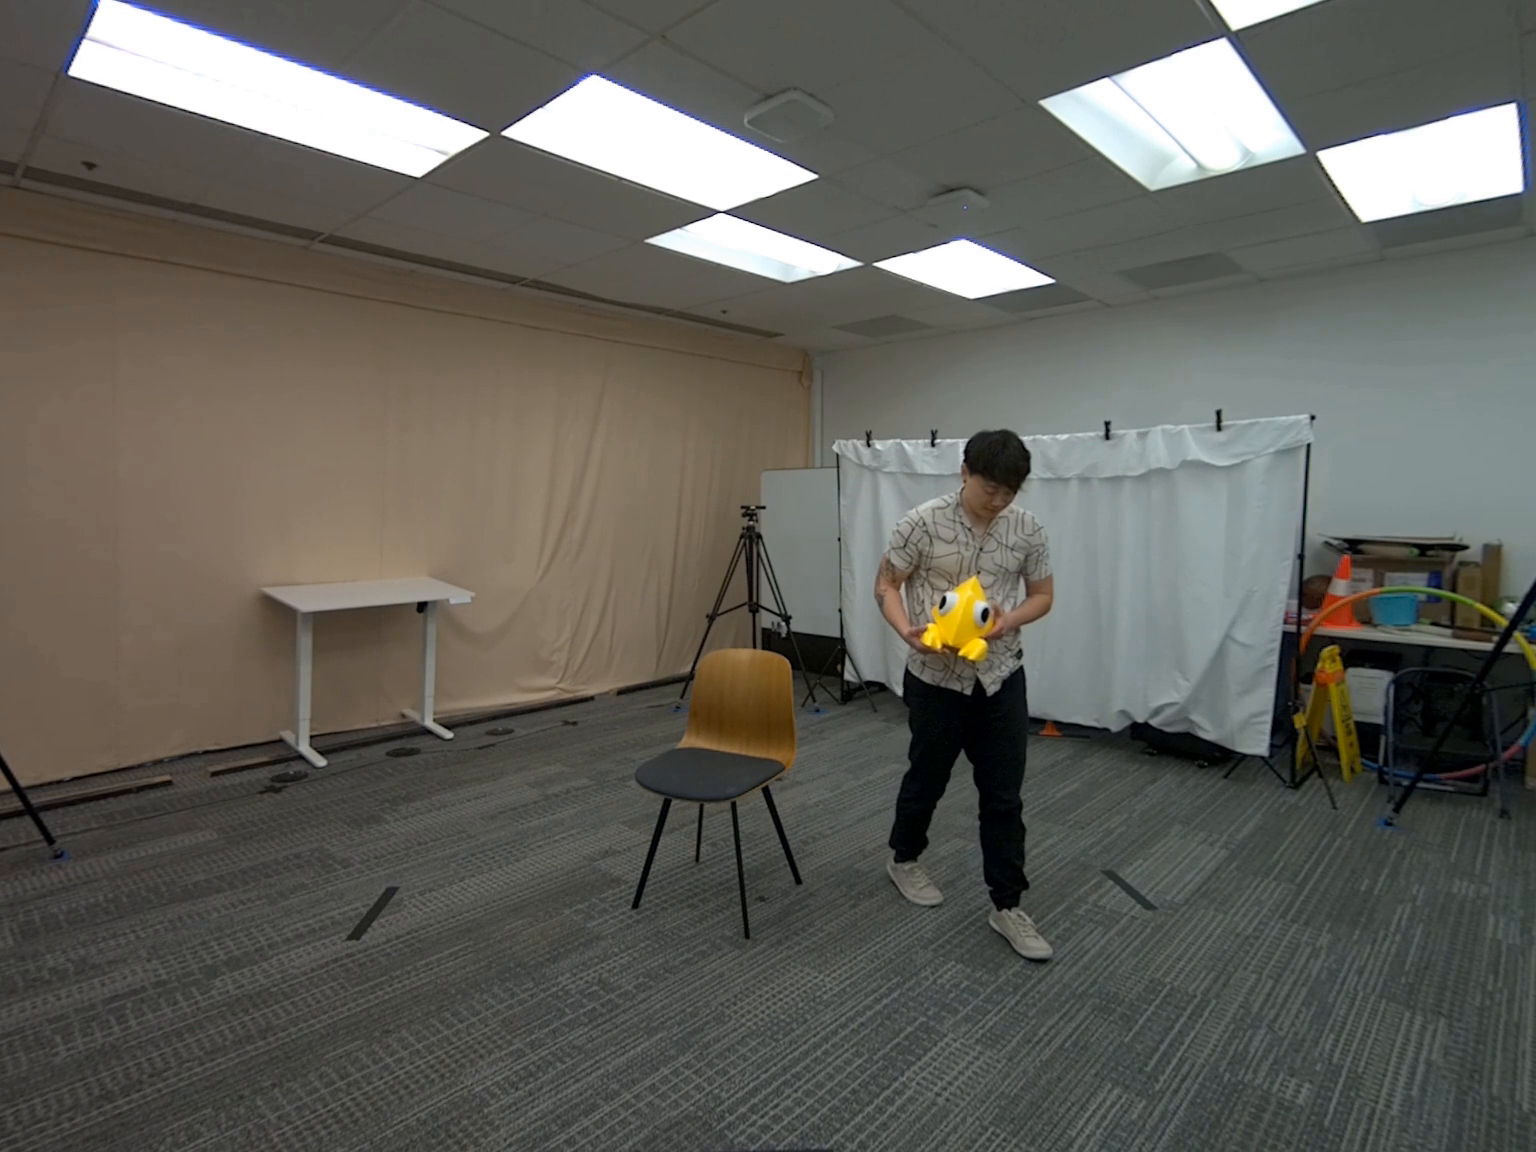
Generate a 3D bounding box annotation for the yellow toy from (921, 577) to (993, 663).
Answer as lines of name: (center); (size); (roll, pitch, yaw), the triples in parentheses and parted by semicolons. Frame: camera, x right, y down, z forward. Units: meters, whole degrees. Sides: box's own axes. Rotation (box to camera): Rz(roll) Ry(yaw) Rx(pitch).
yellow toy: (0.600, 0.117, 2.579); (0.210, 0.230, 0.189); (18, 8, 20)
